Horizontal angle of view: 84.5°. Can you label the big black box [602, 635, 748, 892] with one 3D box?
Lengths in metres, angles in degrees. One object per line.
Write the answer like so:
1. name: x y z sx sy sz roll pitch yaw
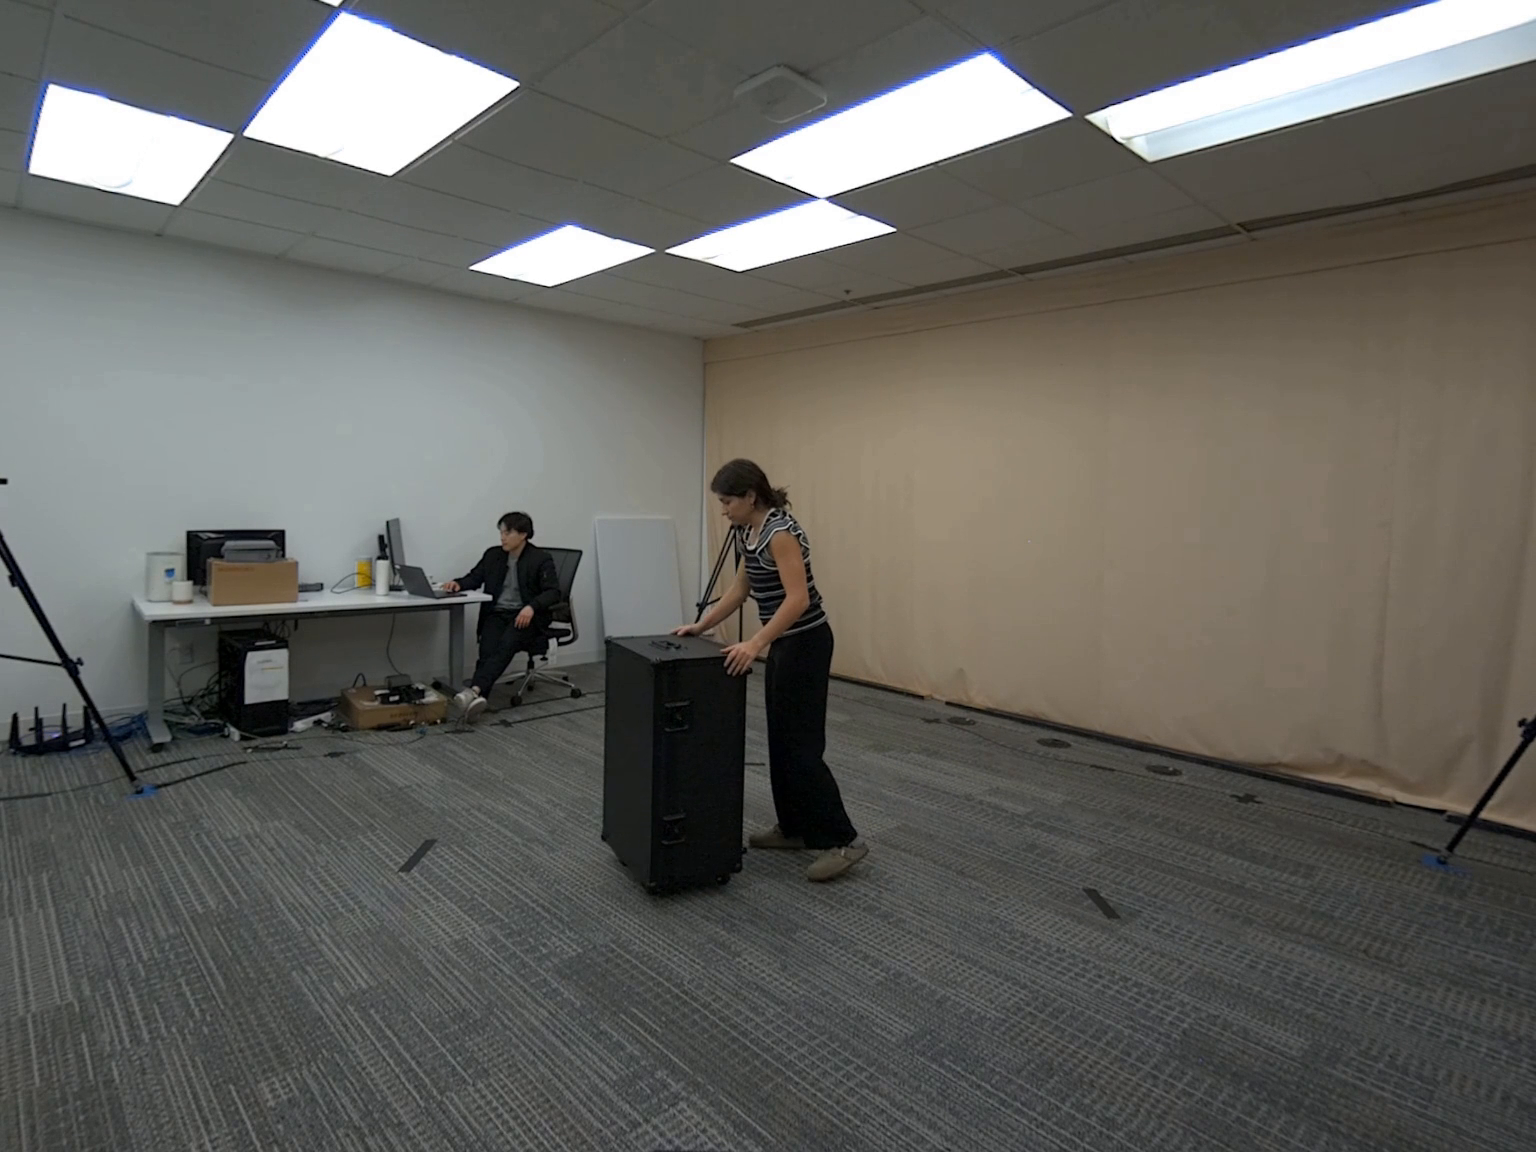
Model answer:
1. big black box: -0.351 0.677 3.093 0.388 0.859 0.533 0 4 -29
